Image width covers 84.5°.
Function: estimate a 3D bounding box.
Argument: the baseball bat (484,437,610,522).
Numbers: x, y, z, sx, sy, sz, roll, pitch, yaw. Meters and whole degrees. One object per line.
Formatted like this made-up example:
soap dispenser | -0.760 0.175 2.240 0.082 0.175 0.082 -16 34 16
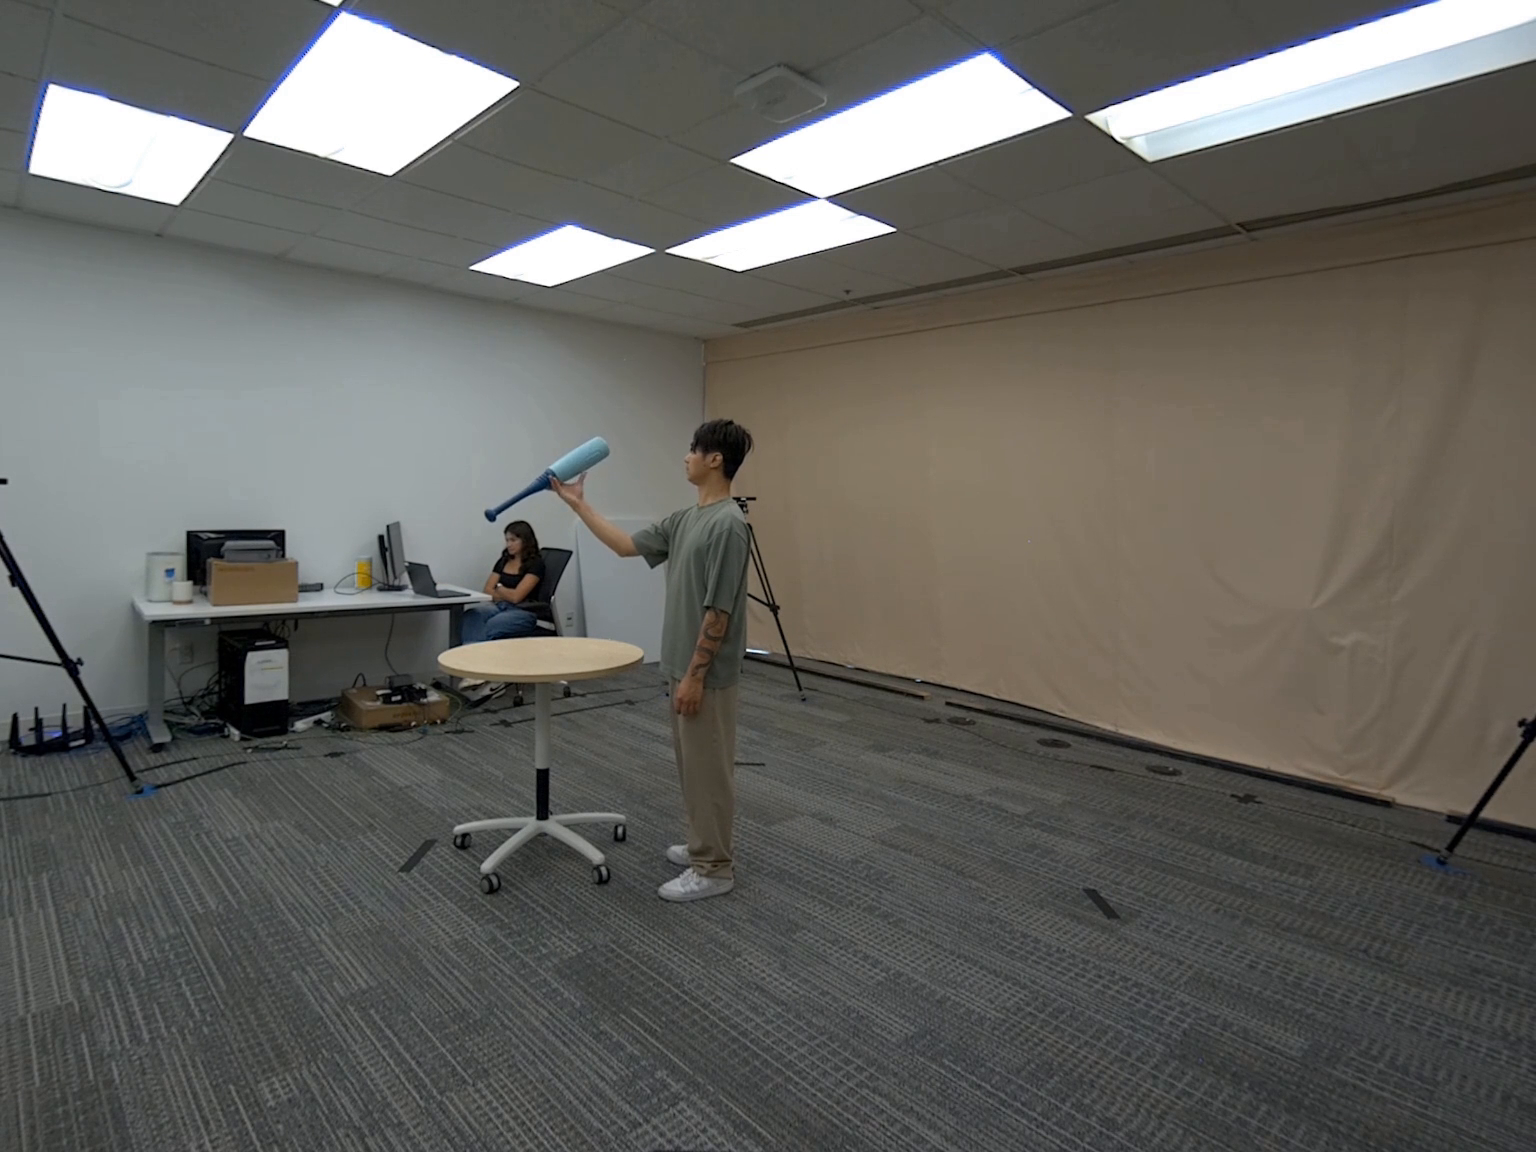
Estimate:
baseball bat | -0.806 -0.349 3.075 0.091 0.087 0.541 6 38 49
